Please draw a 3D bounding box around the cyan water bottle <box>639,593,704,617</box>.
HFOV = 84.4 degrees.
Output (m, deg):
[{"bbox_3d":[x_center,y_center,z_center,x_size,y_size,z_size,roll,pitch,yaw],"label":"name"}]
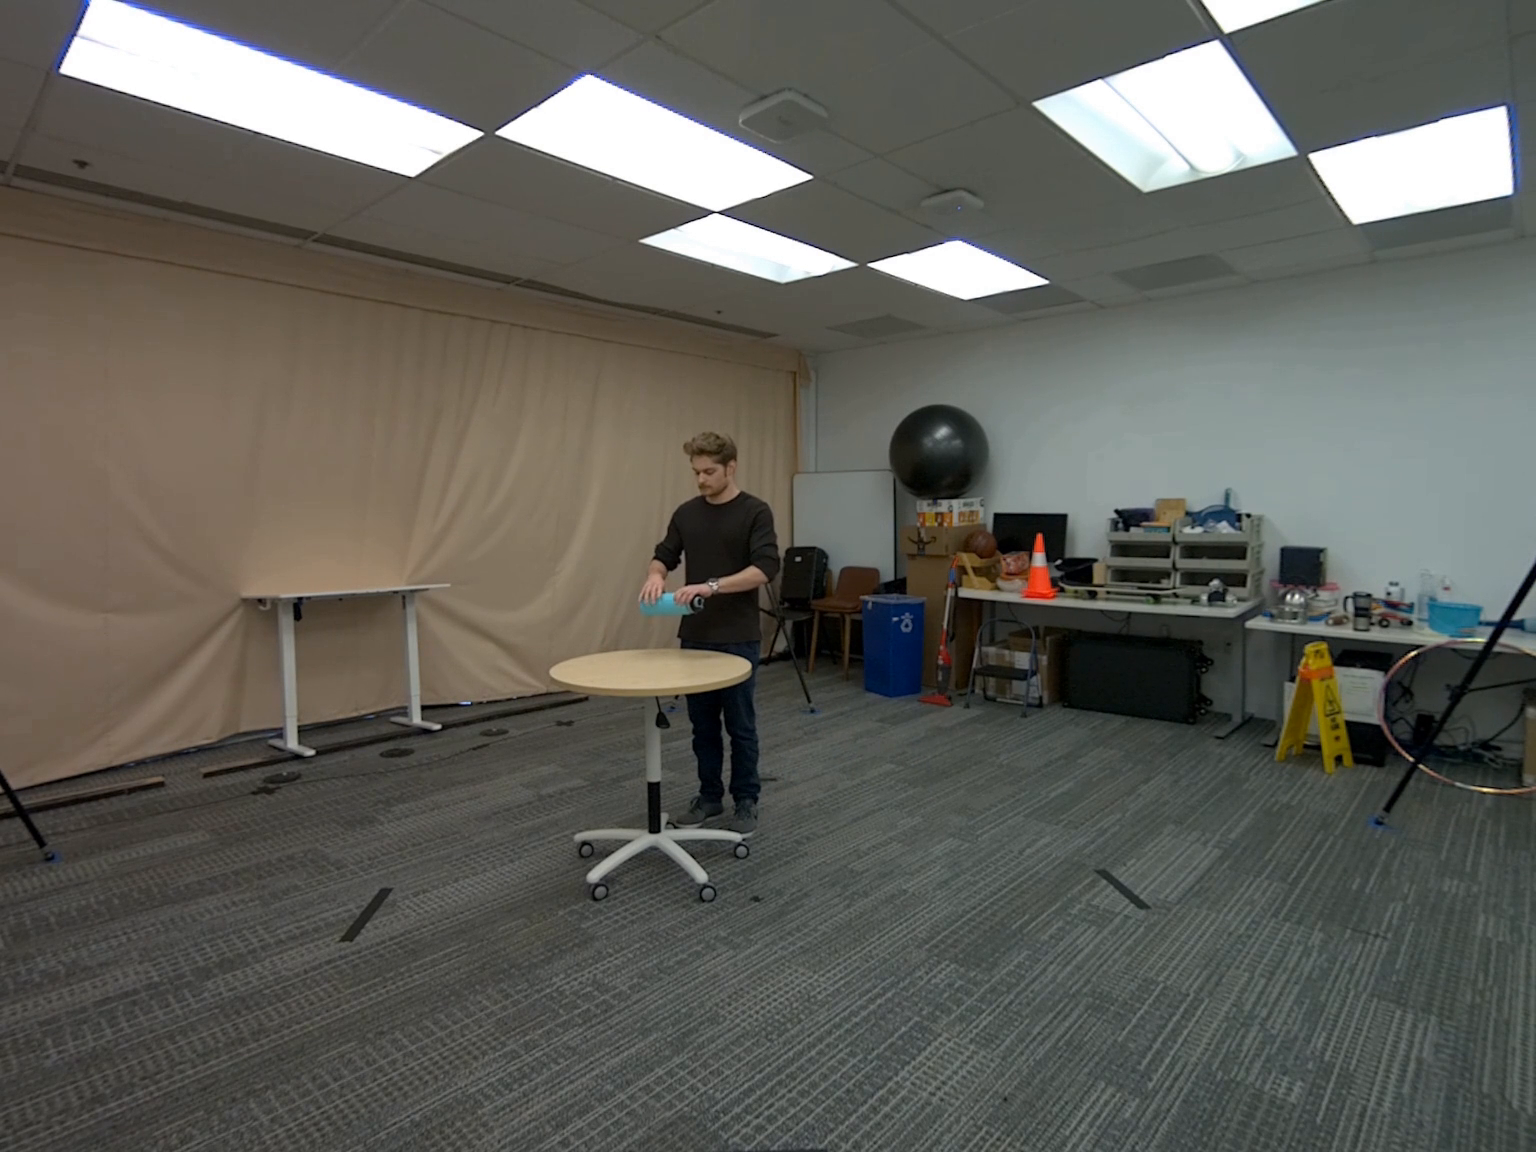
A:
[{"bbox_3d":[-0.388,0.120,3.428,0.291,0.092,0.090,-3,2,30],"label":"cyan water bottle"}]
